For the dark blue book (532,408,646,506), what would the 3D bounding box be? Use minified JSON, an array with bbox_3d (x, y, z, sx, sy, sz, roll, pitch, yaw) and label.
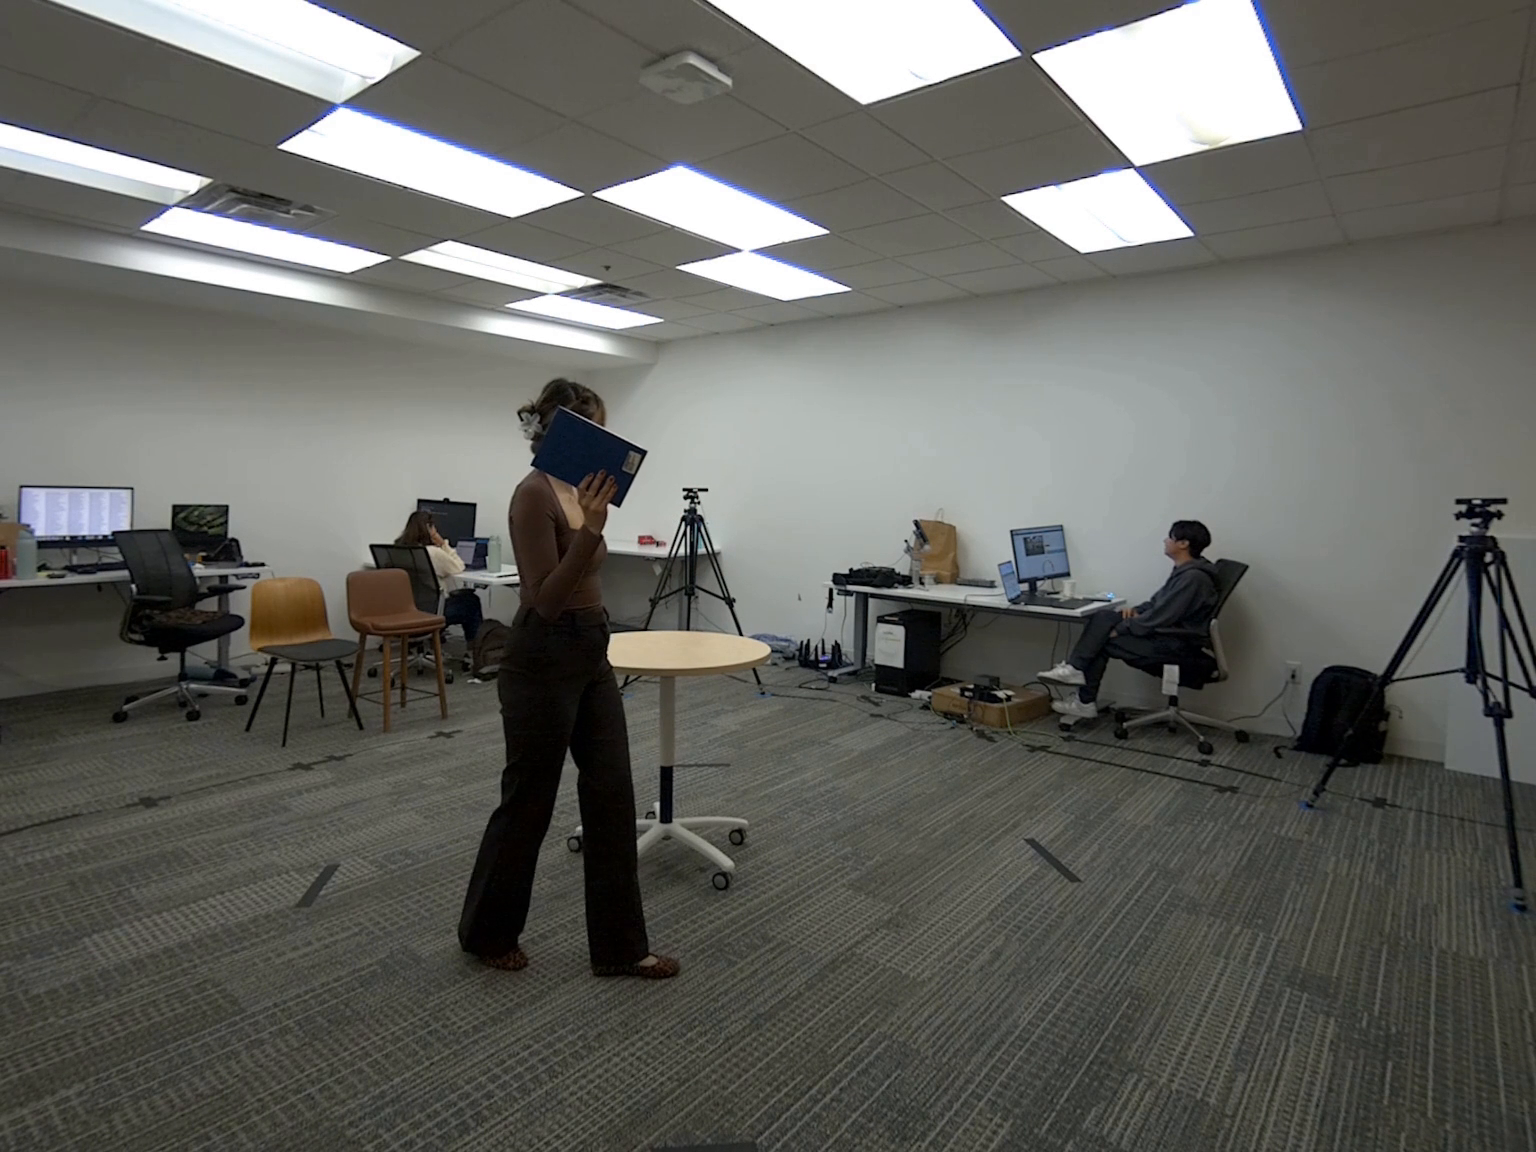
[{"bbox_3d":[-0.457,-0.301,2.122,0.242,0.163,0.046,26,4,-9],"label":"dark blue book"}]
